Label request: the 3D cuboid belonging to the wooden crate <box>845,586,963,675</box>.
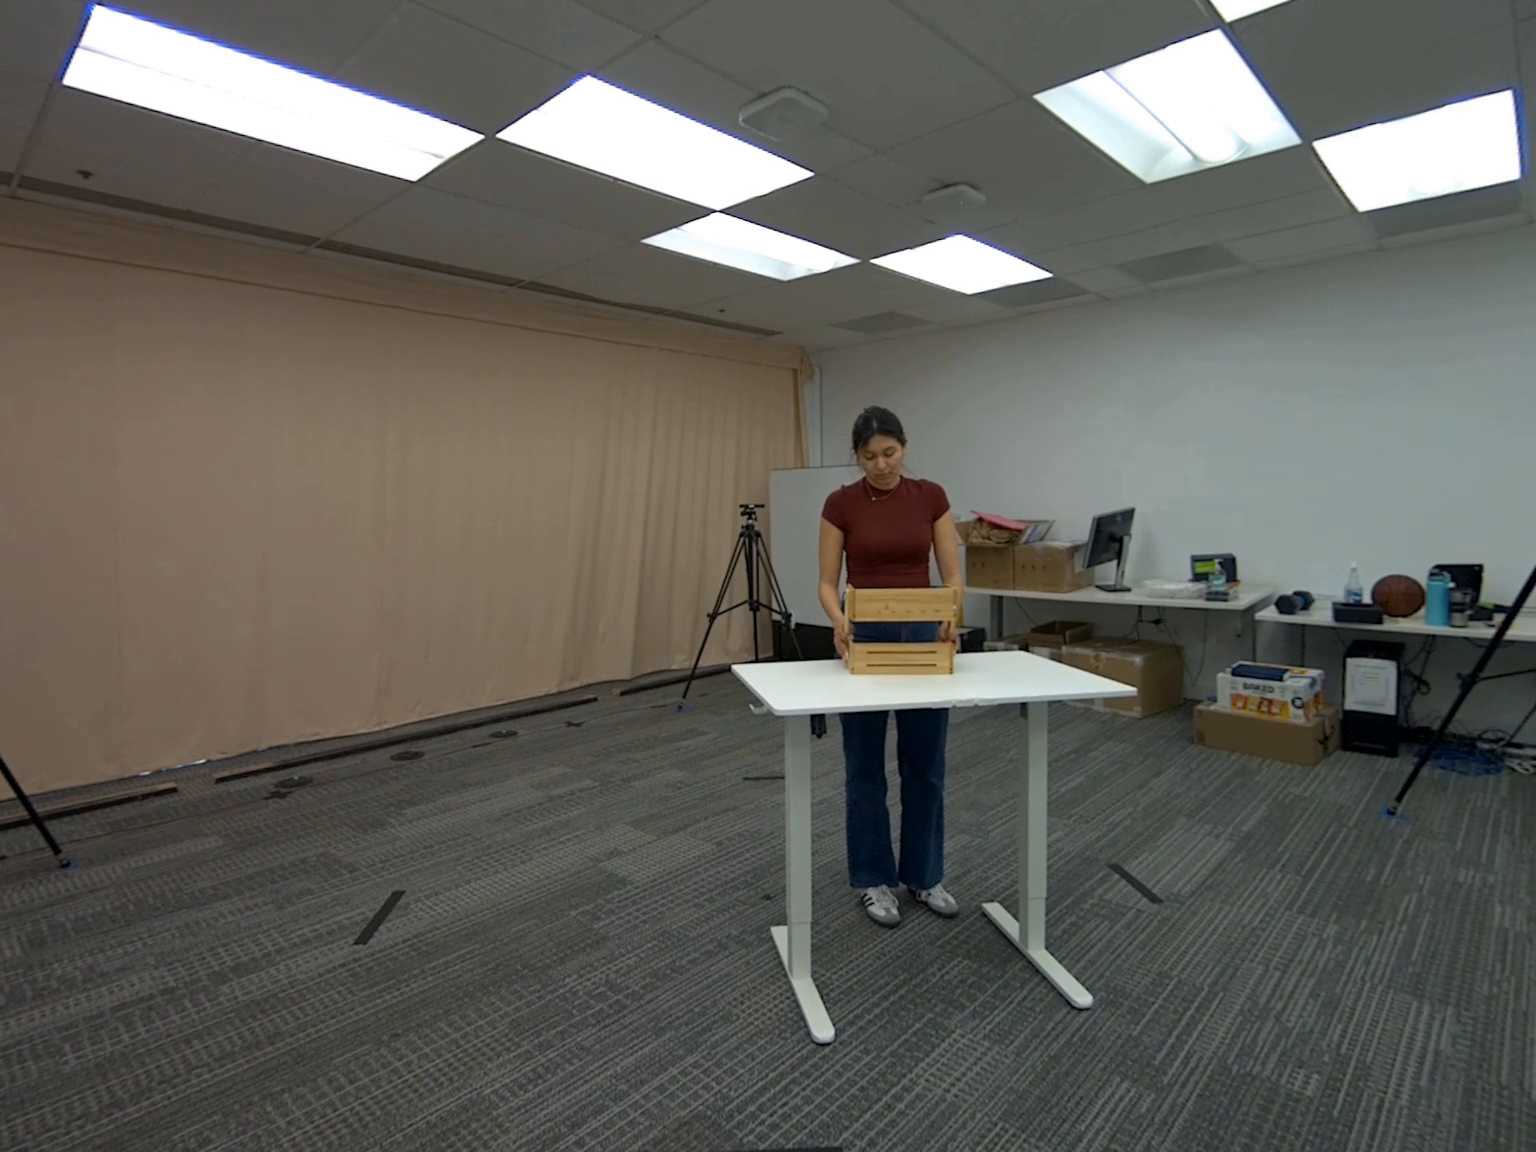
[{"bbox_3d":[0.403,0.151,2.587,0.325,0.272,0.302,-1,4,2],"label":"wooden crate"}]
